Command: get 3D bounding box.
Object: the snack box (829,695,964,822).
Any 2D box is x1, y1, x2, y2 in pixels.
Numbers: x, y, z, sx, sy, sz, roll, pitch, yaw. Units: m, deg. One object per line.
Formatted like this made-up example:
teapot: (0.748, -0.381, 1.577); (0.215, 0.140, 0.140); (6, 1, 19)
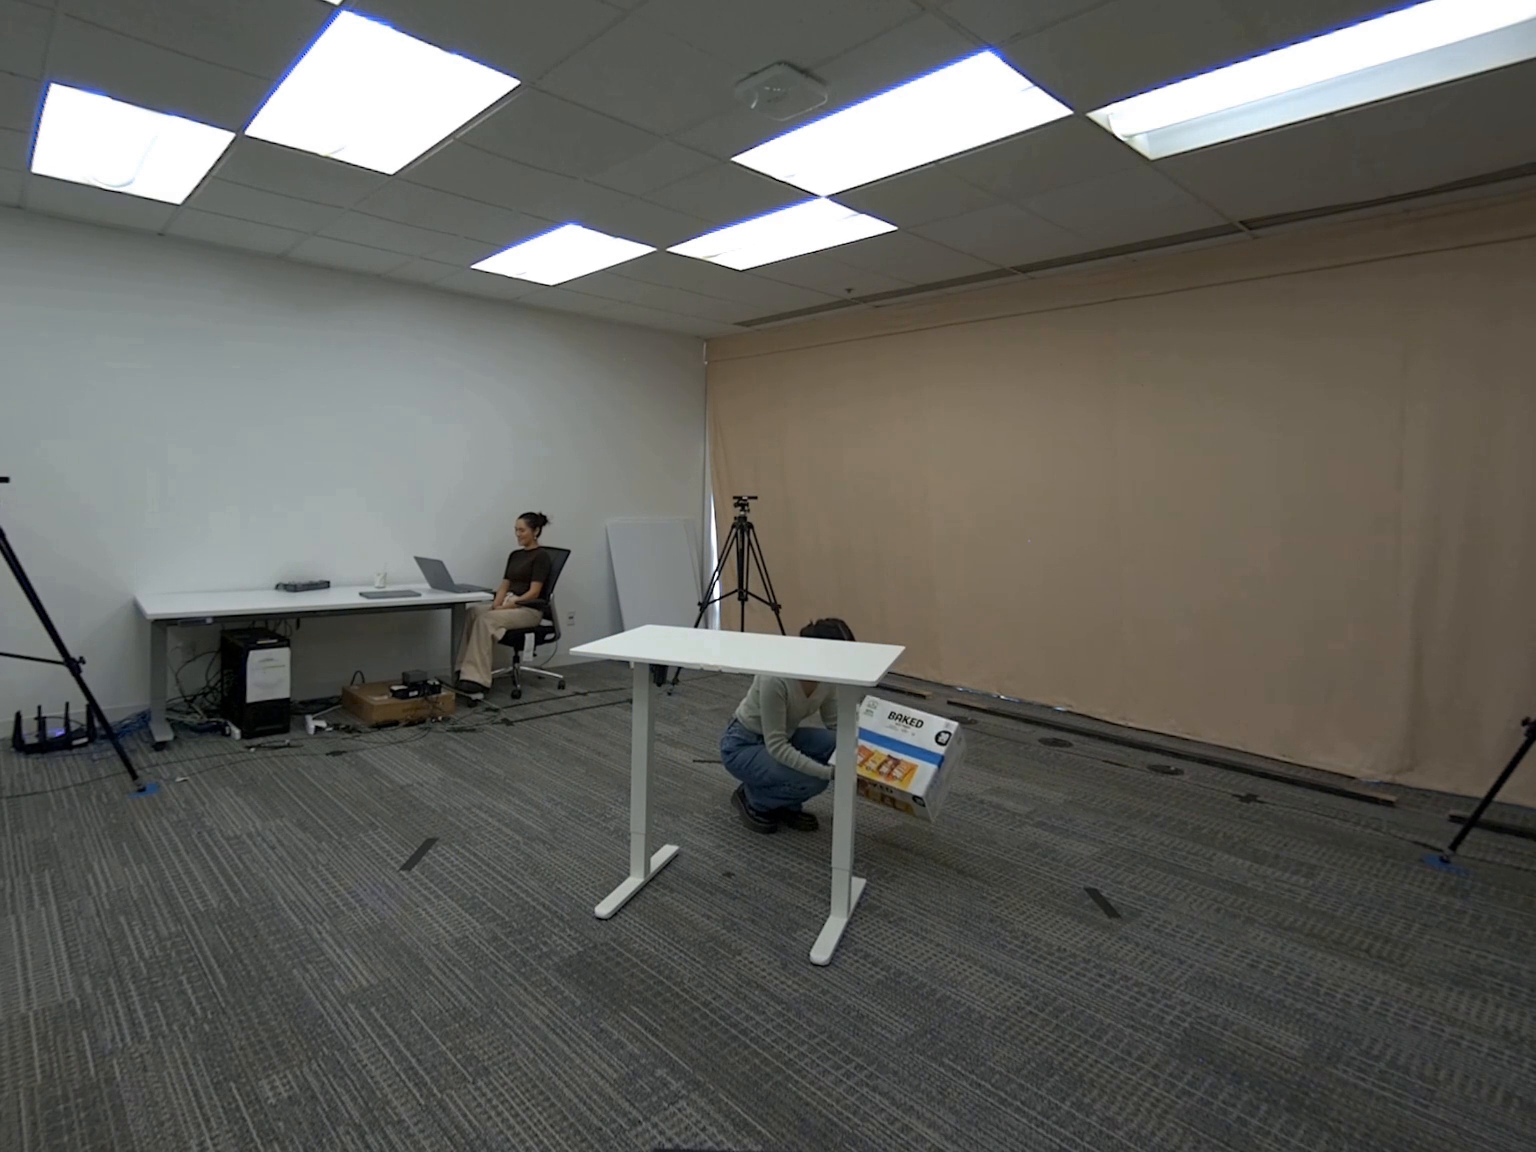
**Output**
snack box: (0.503, 0.708, 3.294); (0.416, 0.200, 0.341); (12, 52, 36)
